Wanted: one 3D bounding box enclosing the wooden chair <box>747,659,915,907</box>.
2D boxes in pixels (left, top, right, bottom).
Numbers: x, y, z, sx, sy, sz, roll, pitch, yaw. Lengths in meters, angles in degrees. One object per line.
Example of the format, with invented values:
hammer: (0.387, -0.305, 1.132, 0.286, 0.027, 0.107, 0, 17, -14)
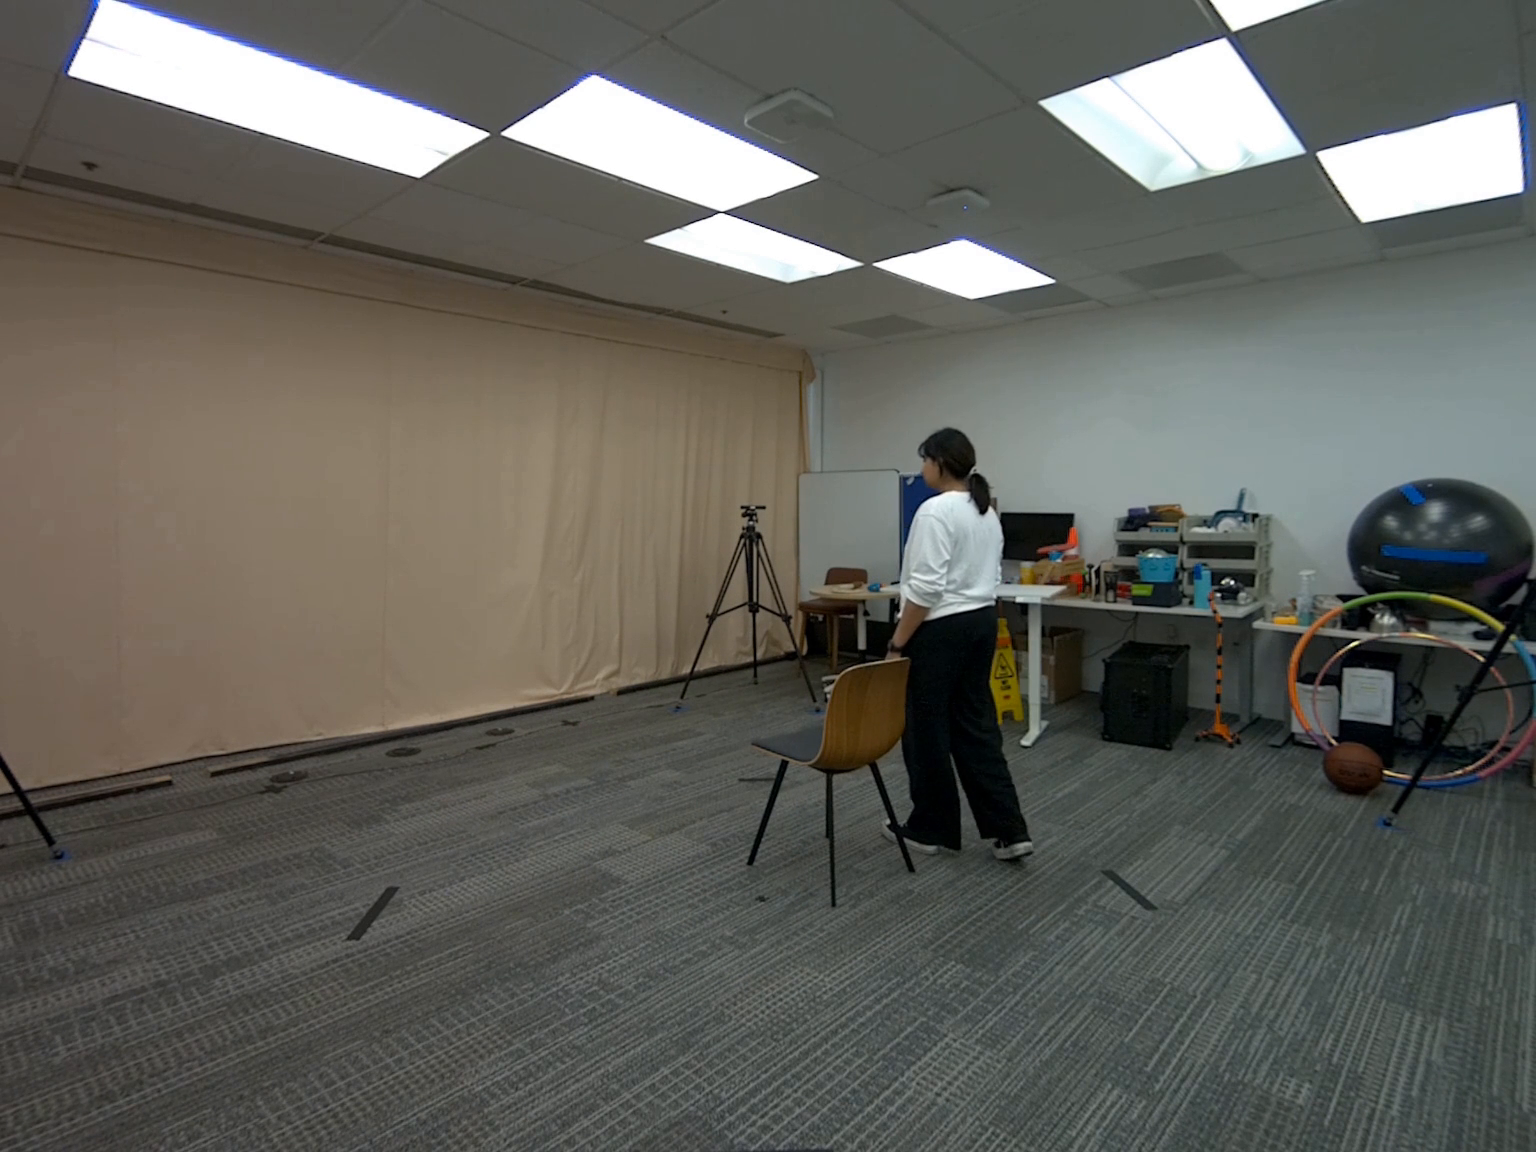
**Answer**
wooden chair: (0.237, 0.695, 3.201, 0.463, 0.874, 0.541, -2, 9, -42)
